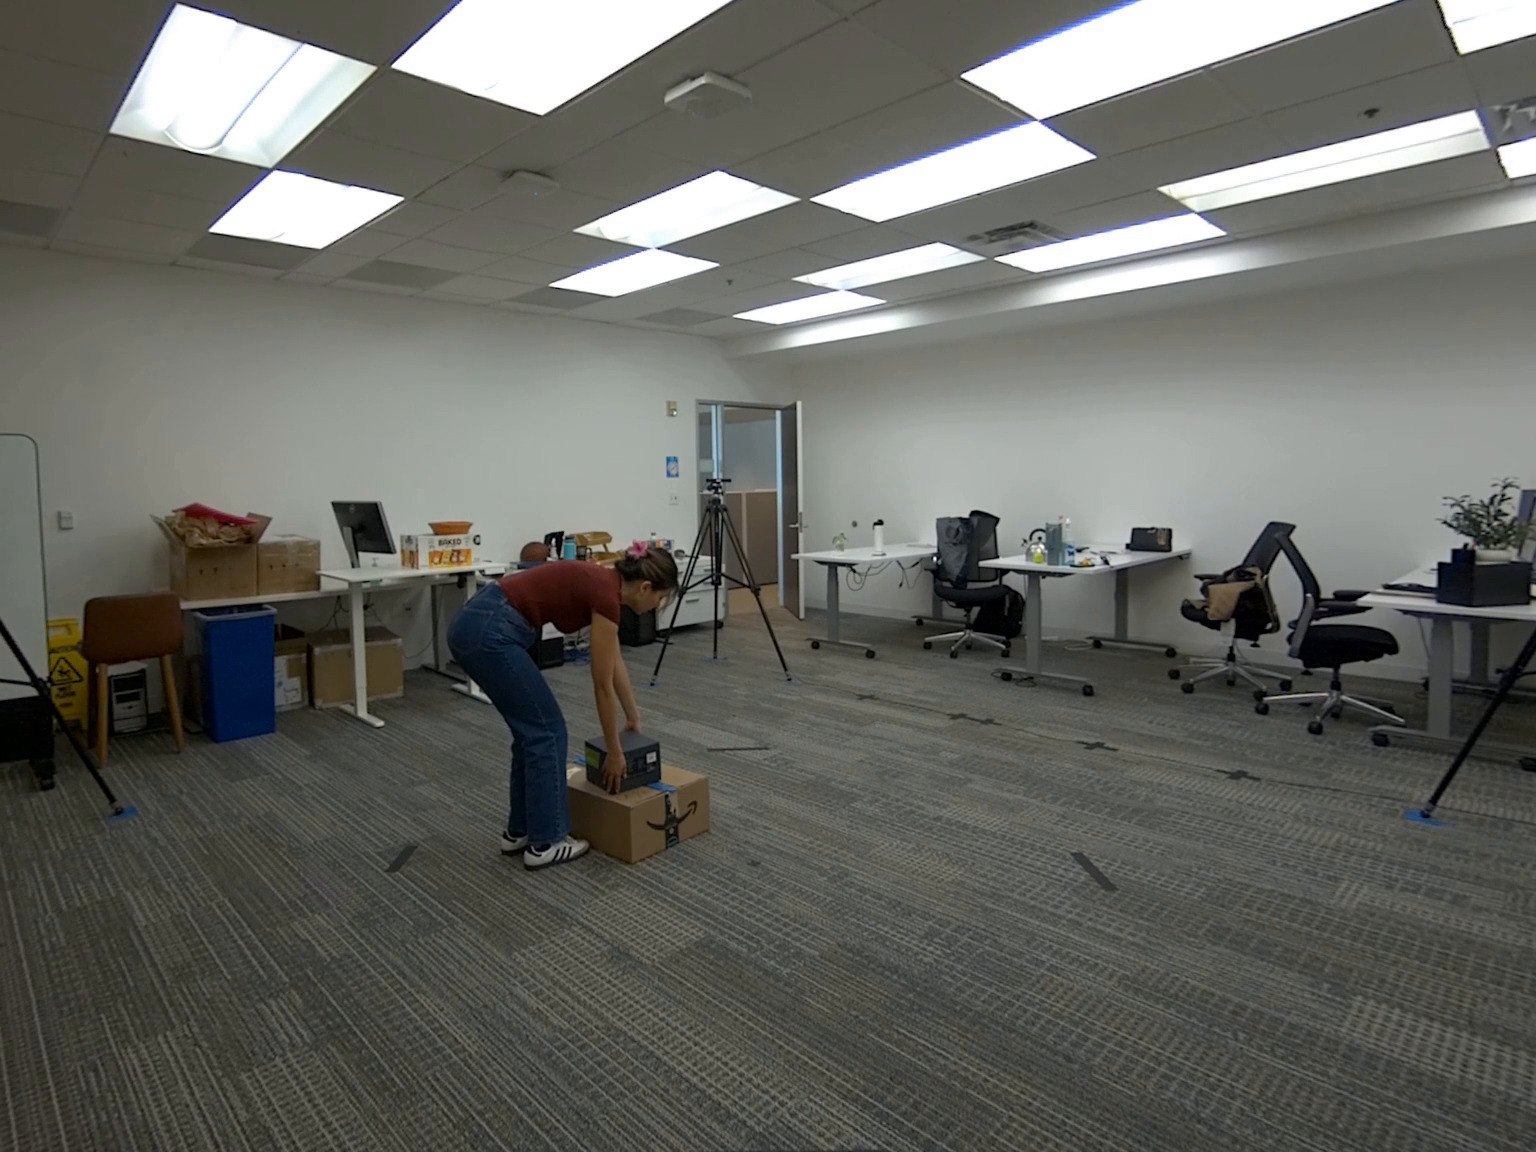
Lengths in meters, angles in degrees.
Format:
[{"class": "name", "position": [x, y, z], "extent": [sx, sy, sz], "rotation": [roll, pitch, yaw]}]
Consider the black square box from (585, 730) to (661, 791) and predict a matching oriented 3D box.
[{"class": "black square box", "position": [-0.574, 0.724, 3.368], "extent": [0.212, 0.155, 0.235], "rotation": [-8, 9, -37]}]
